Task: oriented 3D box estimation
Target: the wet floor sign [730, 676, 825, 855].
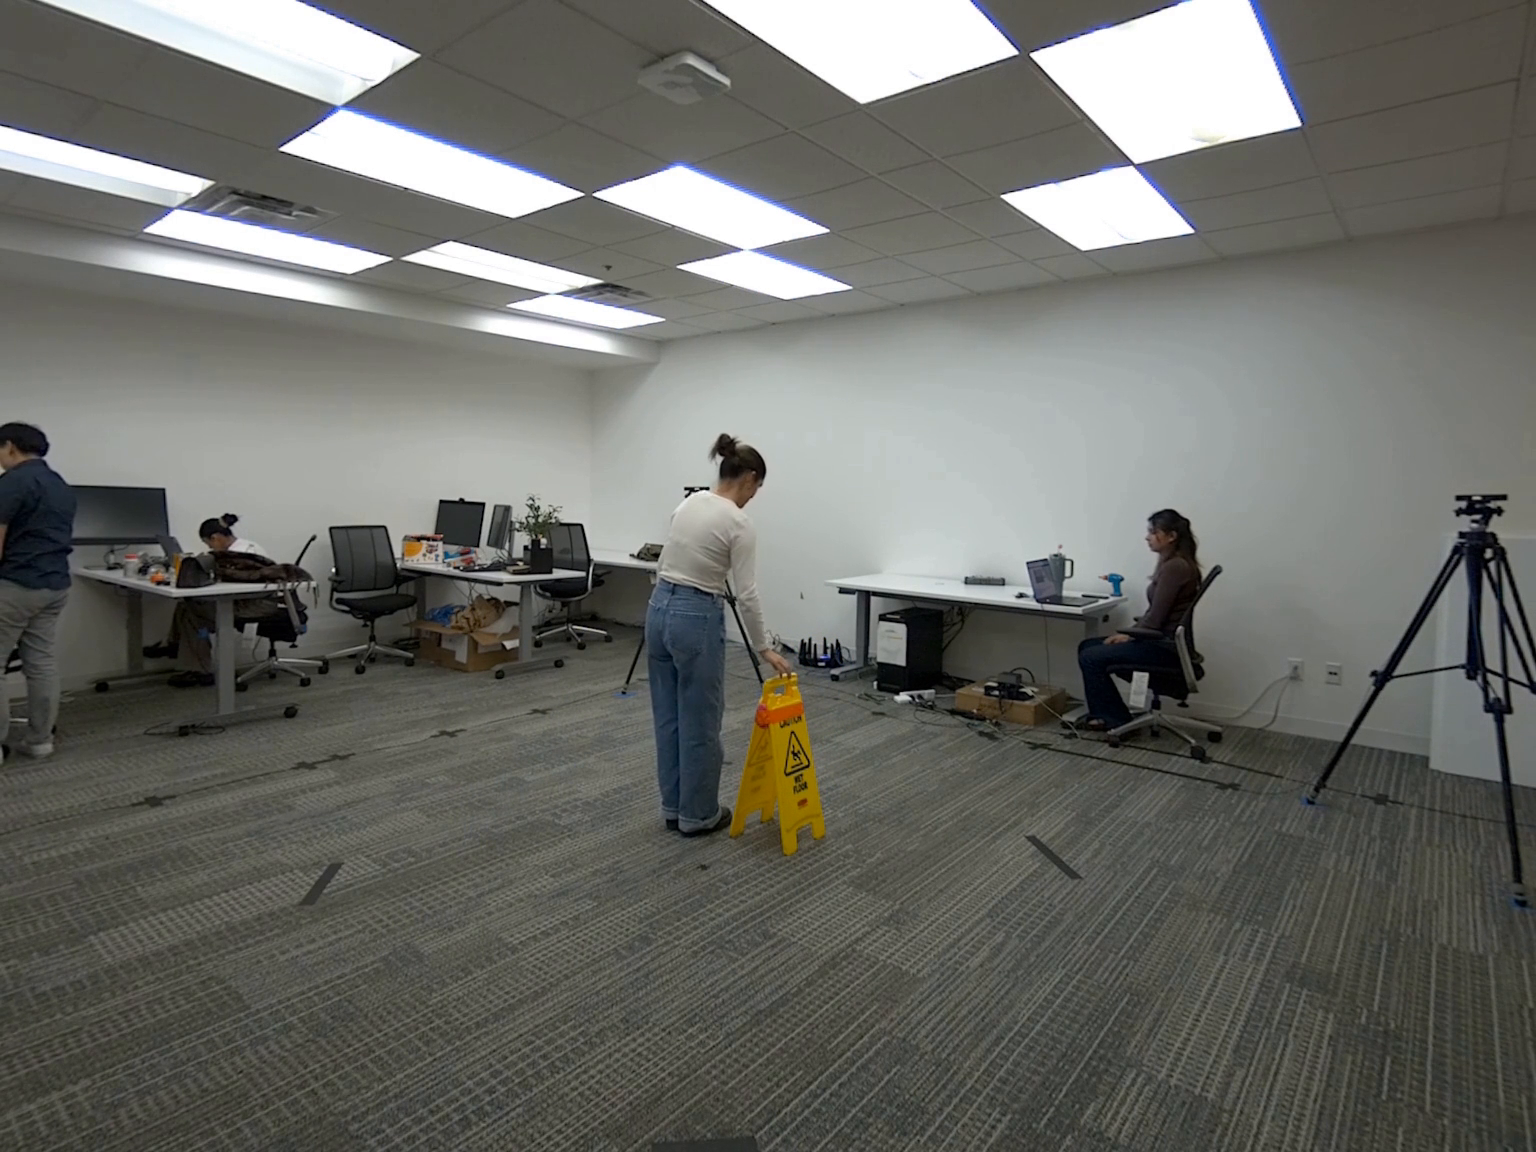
[{"bbox_3d":[0.040,0.720,3.398,0.299,0.644,0.274,4,5,39],"label":"wet floor sign"}]
